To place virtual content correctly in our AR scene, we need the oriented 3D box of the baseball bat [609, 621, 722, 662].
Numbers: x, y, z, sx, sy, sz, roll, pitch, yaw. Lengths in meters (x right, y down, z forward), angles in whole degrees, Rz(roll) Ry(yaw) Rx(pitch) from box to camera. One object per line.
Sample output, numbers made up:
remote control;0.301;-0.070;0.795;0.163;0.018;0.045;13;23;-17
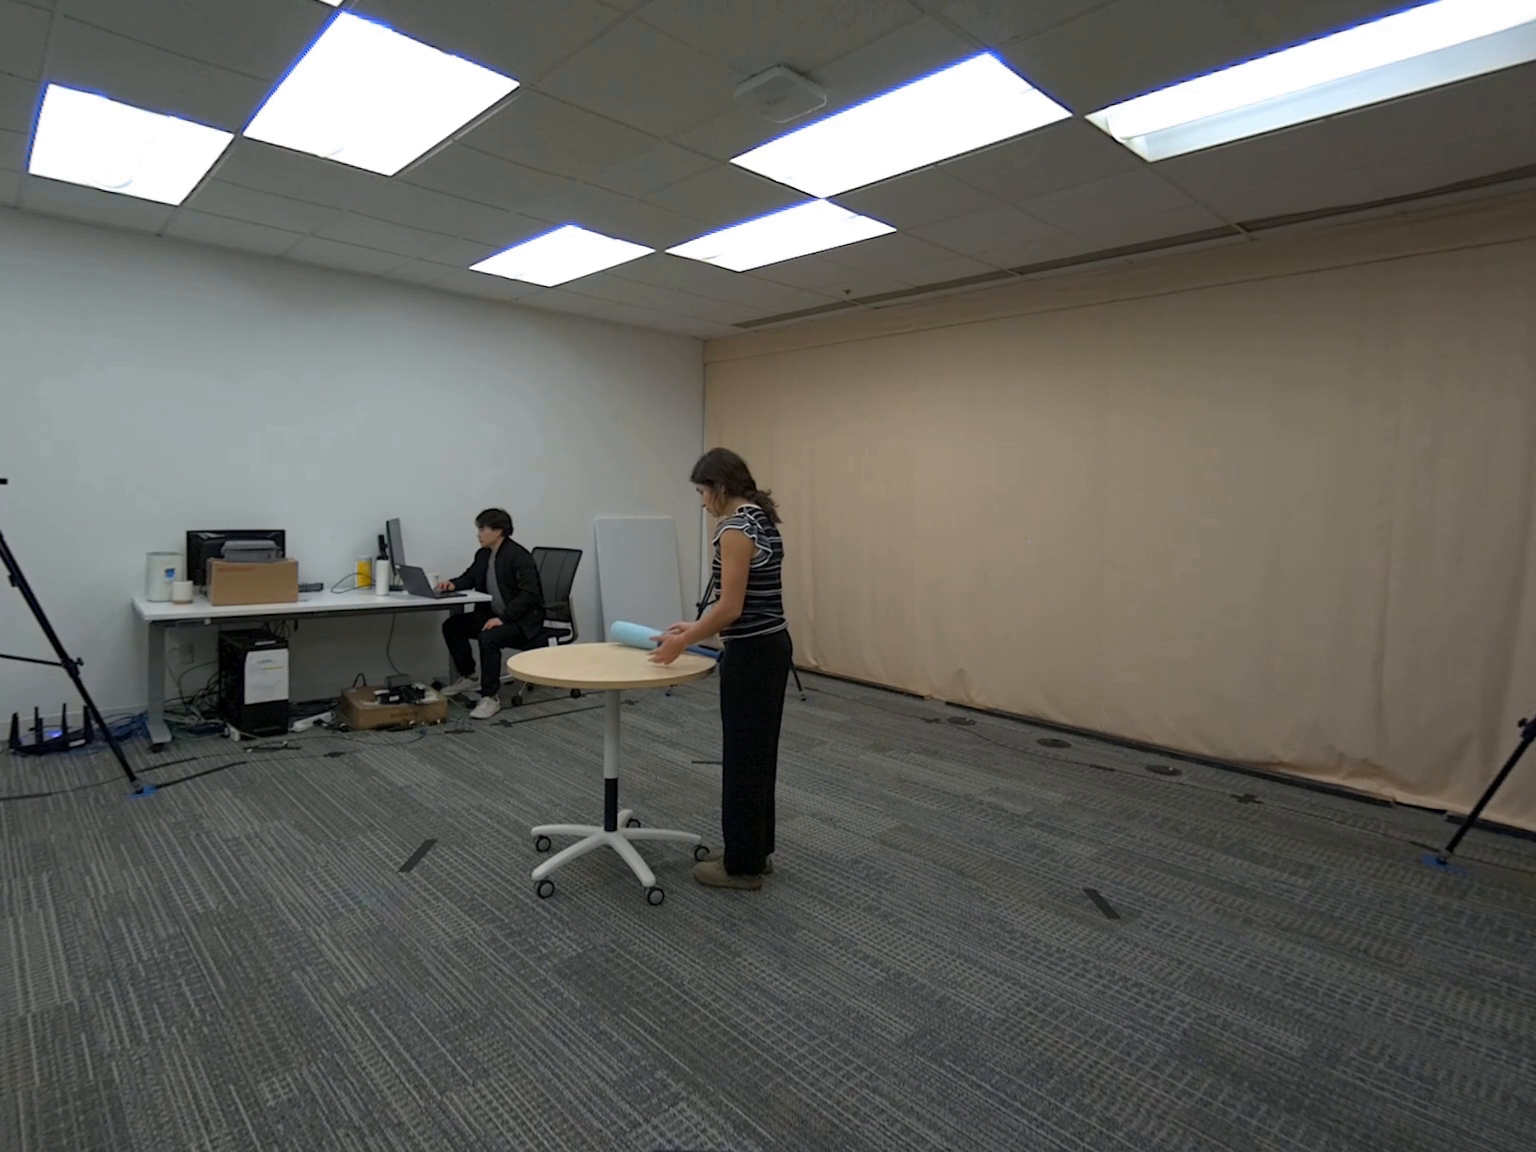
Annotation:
baseball bat;-0.408;0.268;3.301;0.557;0.088;0.087;12;9;32
